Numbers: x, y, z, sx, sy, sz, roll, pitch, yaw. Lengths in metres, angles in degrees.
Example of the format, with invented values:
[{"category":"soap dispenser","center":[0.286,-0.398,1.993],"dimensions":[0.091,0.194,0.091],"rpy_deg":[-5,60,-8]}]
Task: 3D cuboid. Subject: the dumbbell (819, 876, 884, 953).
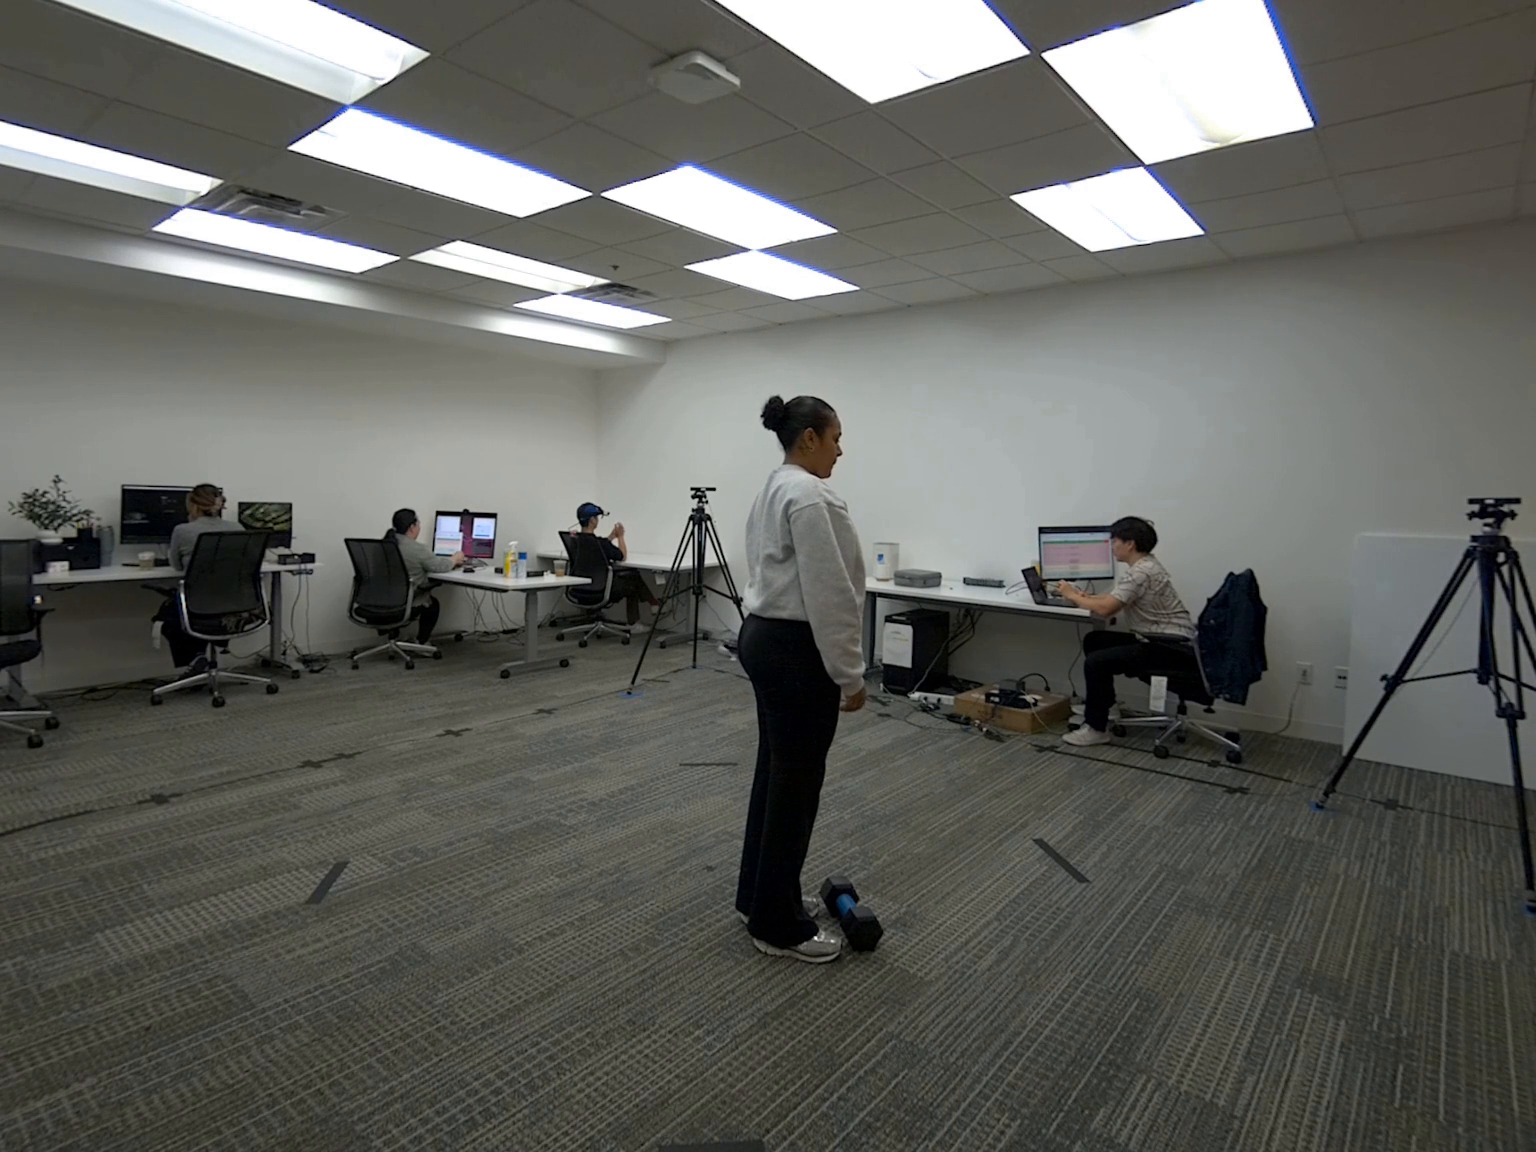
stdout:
[{"category":"dumbbell","center":[0.251,1.071,2.698],"dimensions":[0.108,0.121,0.298],"rpy_deg":[-32,12,-9]}]
